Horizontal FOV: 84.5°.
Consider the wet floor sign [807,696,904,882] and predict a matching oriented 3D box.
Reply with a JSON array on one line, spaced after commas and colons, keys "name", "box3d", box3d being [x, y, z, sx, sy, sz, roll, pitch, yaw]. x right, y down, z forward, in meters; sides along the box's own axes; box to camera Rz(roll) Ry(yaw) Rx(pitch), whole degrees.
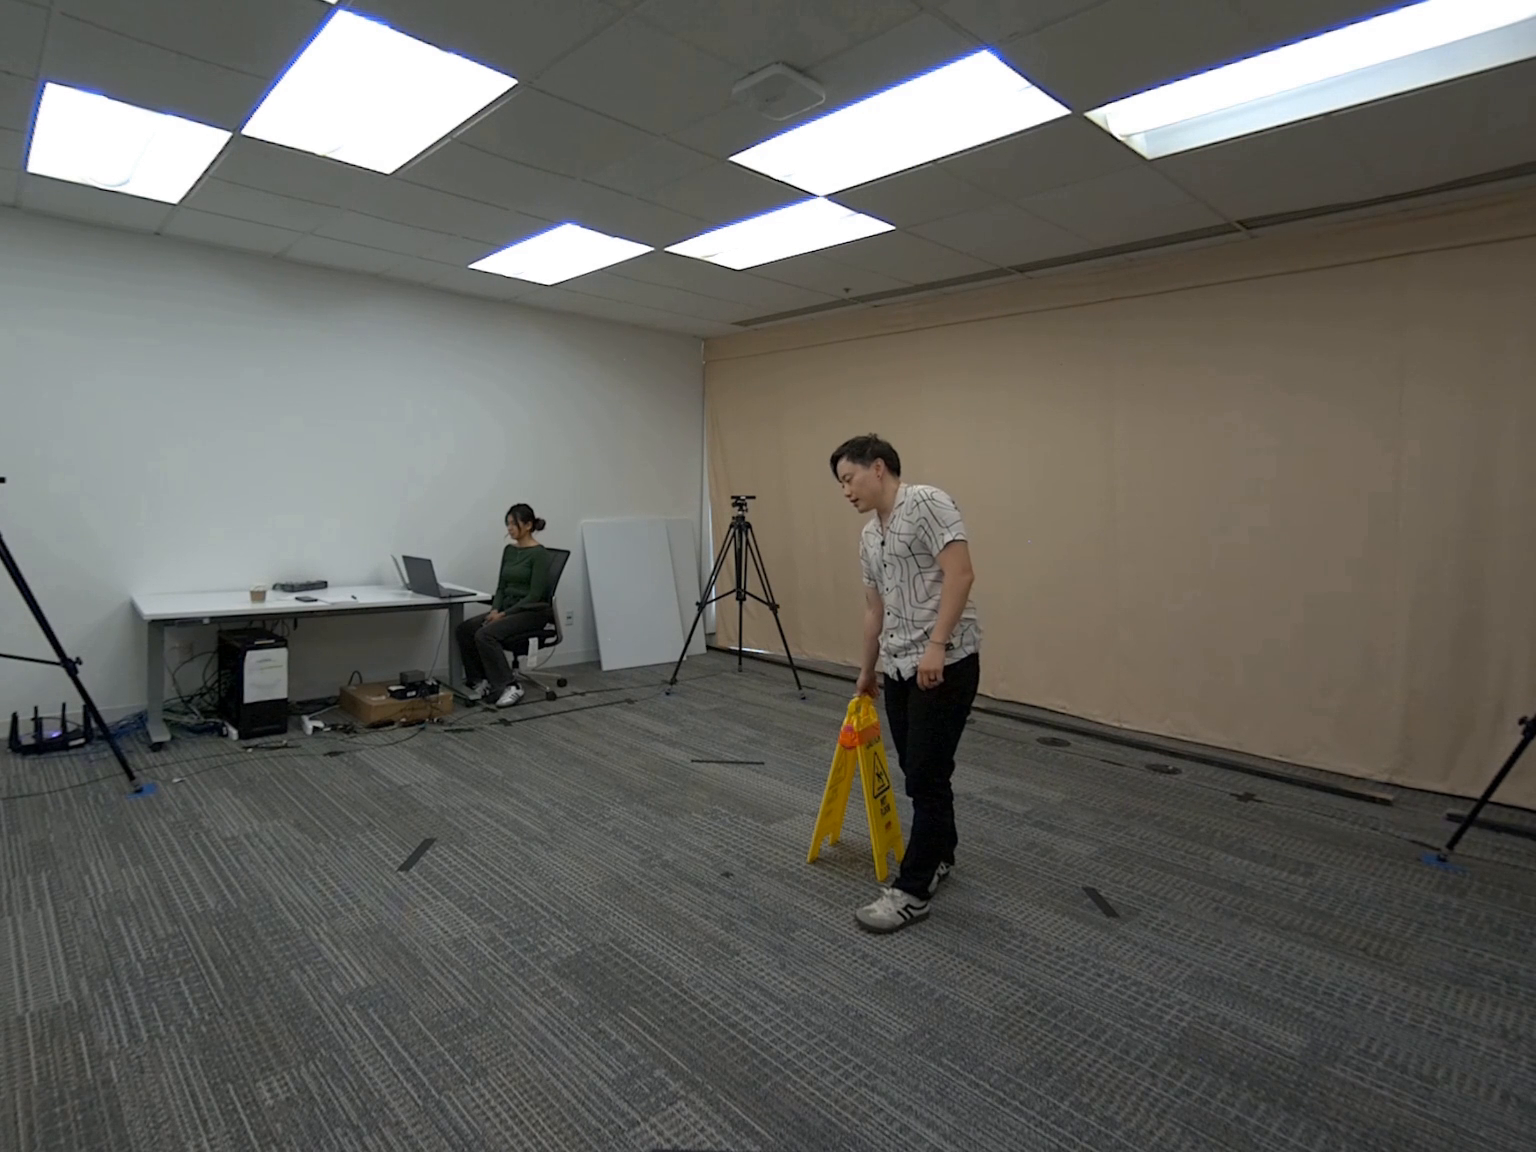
[{"name": "wet floor sign", "box3d": [0.339, 0.777, 3.245, 0.296, 0.645, 0.277, 2, 2, 29]}]
